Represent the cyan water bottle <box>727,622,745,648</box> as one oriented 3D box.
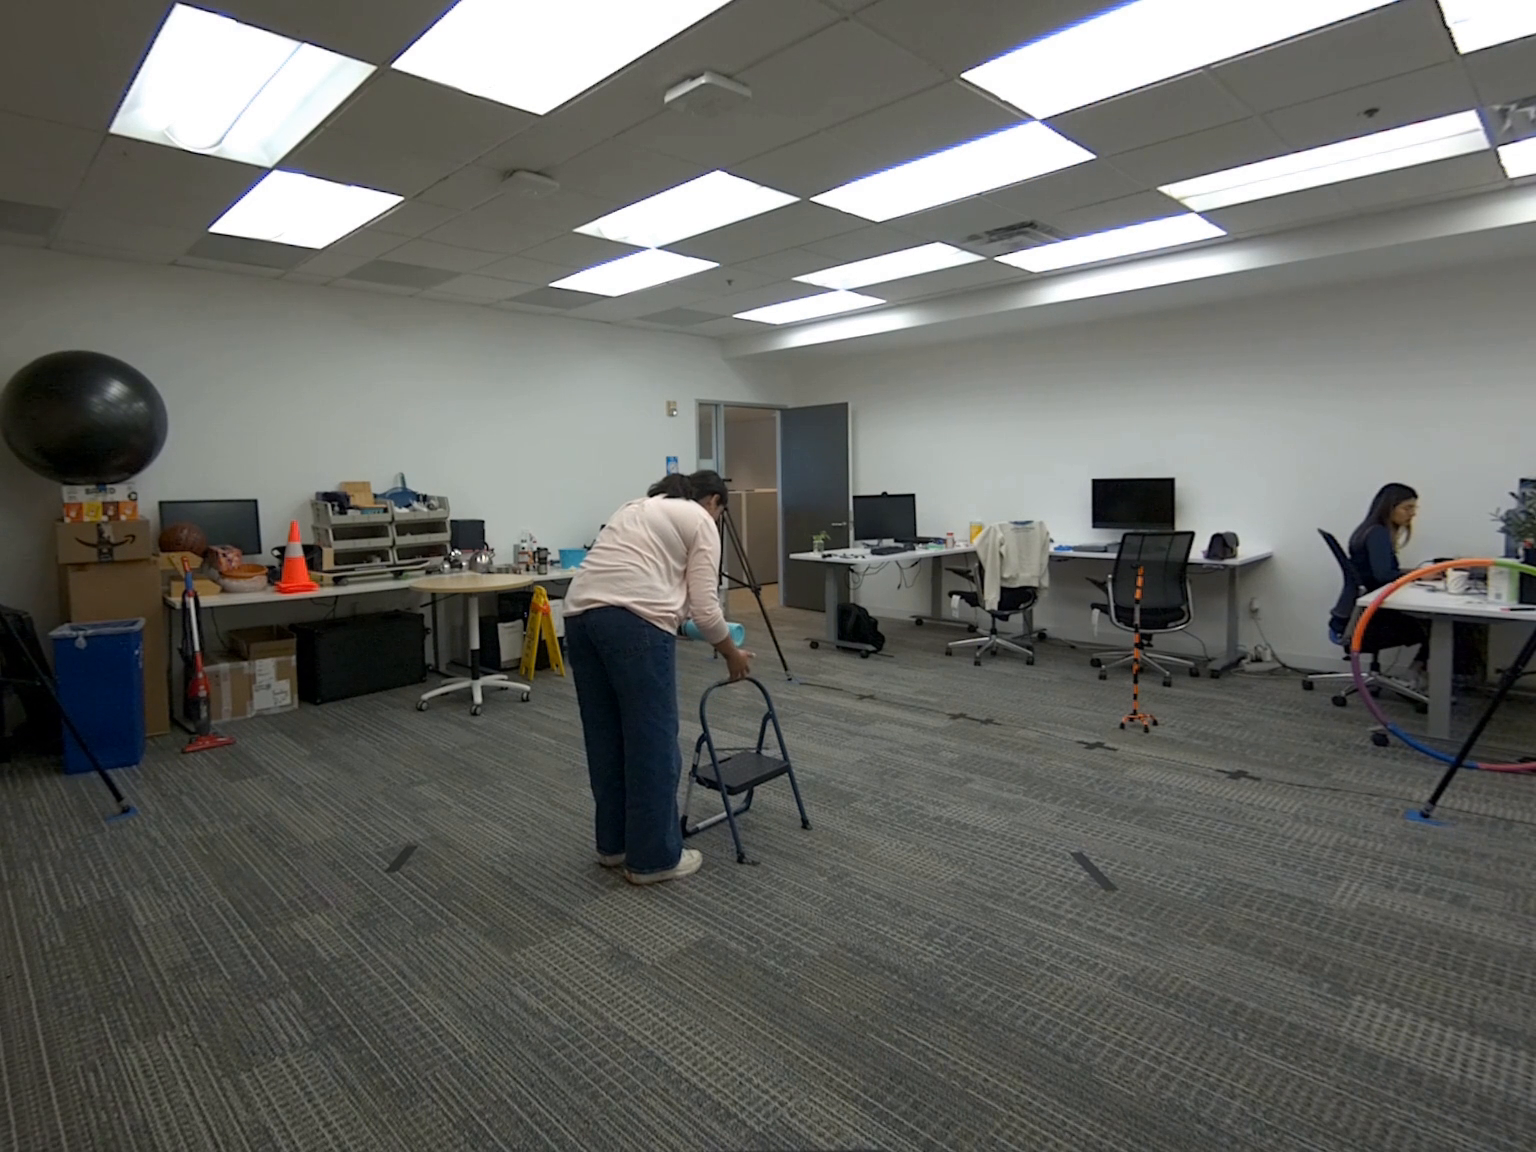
[{"bbox_3d":[-0.235,0.222,3.401,0.292,0.092,0.090,6,8,33],"label":"cyan water bottle"}]
